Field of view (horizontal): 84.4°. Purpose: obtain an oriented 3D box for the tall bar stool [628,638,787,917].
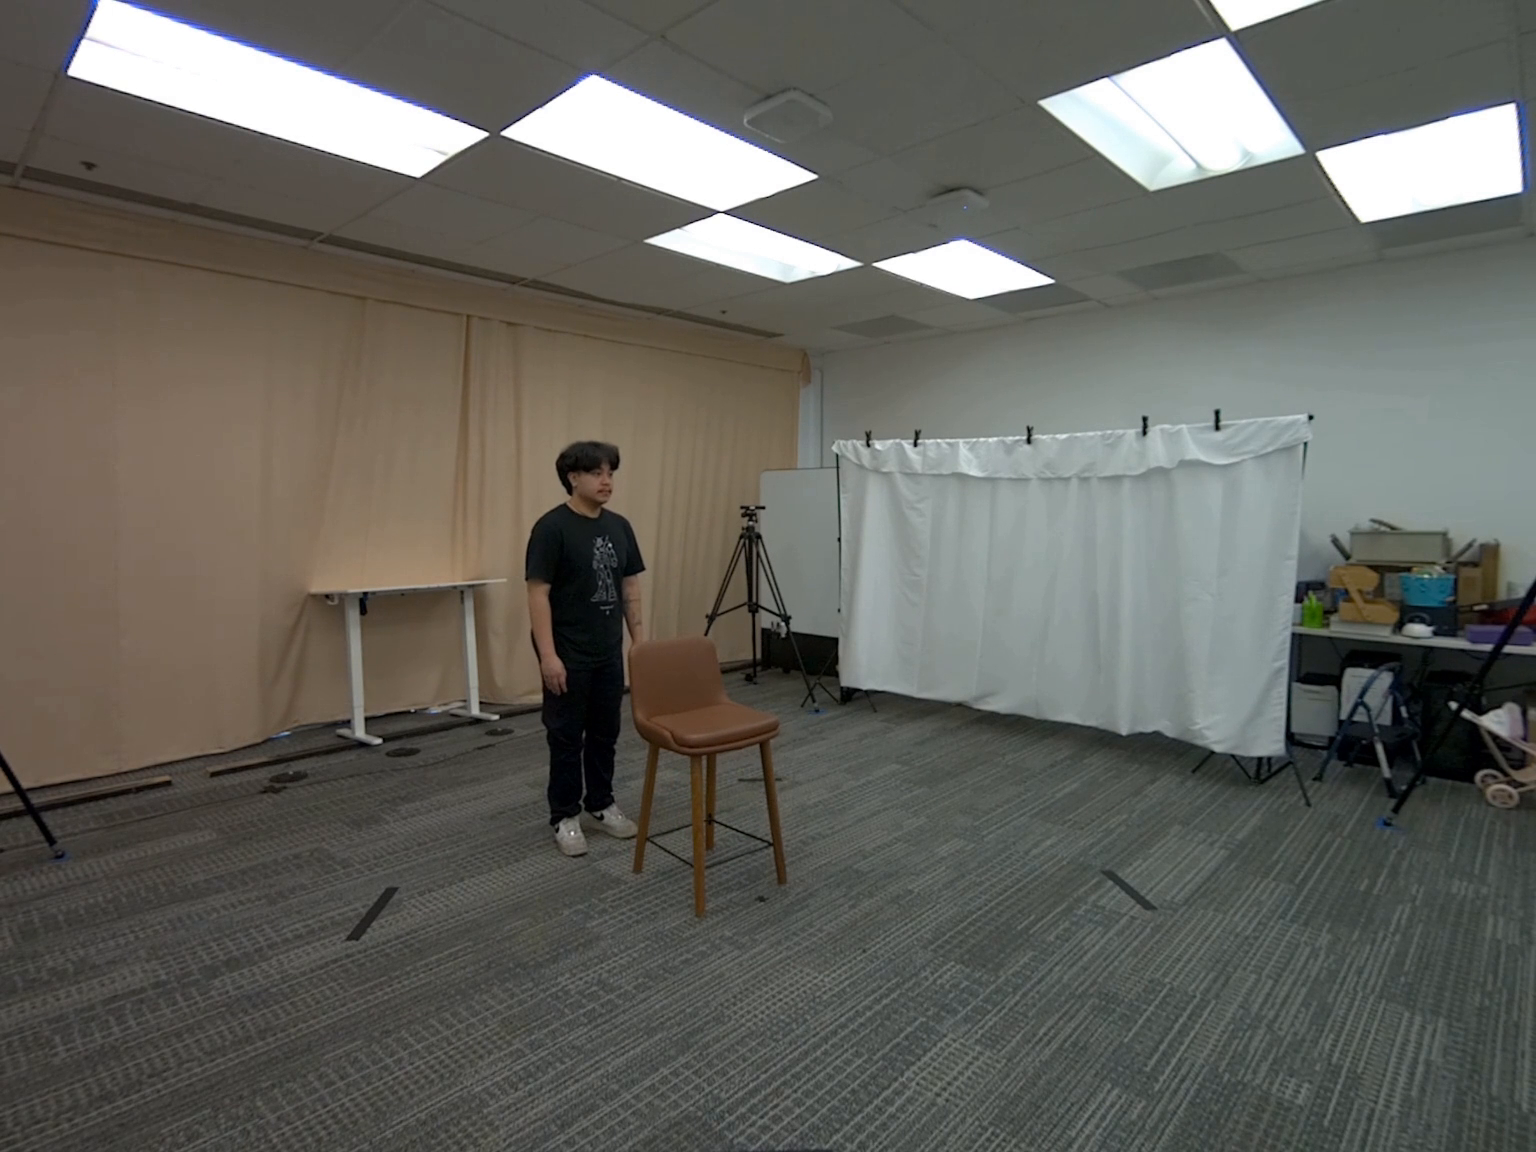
[{"bbox_3d":[-0.235,0.699,3.133,0.443,0.889,0.482,-3,2,-39],"label":"tall bar stool"}]
